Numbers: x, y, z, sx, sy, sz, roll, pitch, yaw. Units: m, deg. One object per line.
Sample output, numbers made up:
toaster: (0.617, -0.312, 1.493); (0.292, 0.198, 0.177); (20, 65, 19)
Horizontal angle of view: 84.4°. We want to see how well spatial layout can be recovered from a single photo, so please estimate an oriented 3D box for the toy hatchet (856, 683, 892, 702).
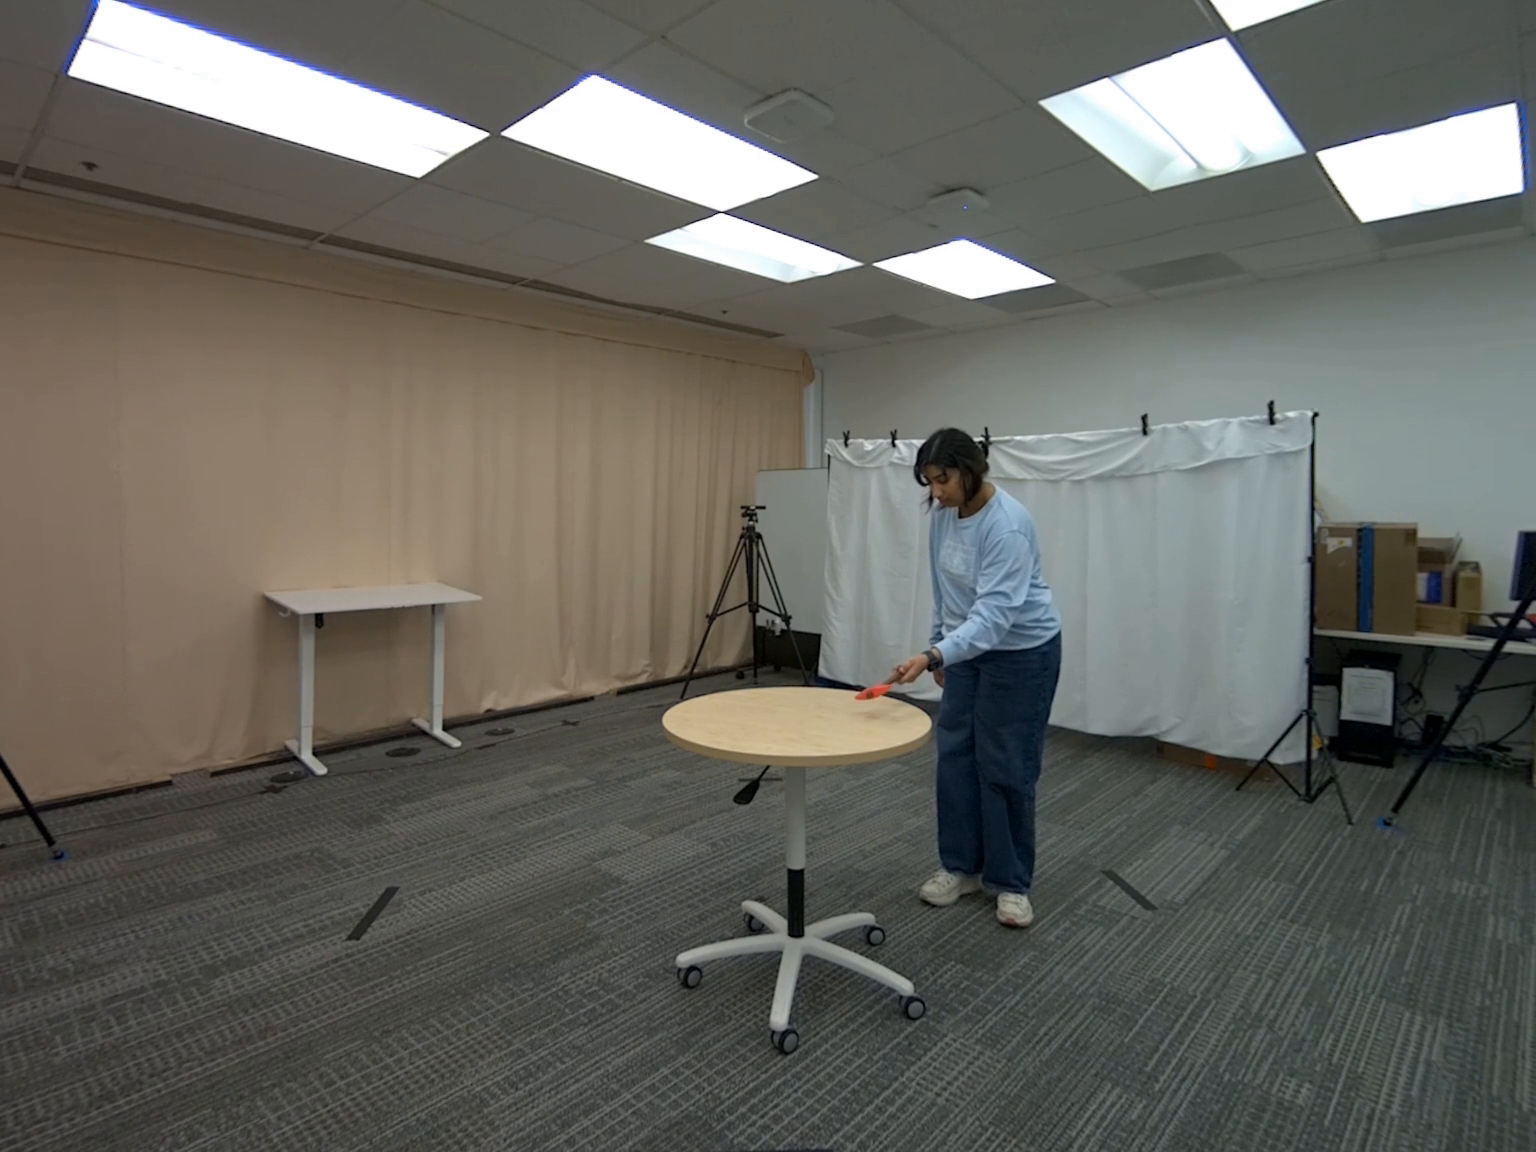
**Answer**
toy hatchet: (0.346, 0.320, 2.462); (0.133, 0.030, 0.264); (-29, -6, 24)
